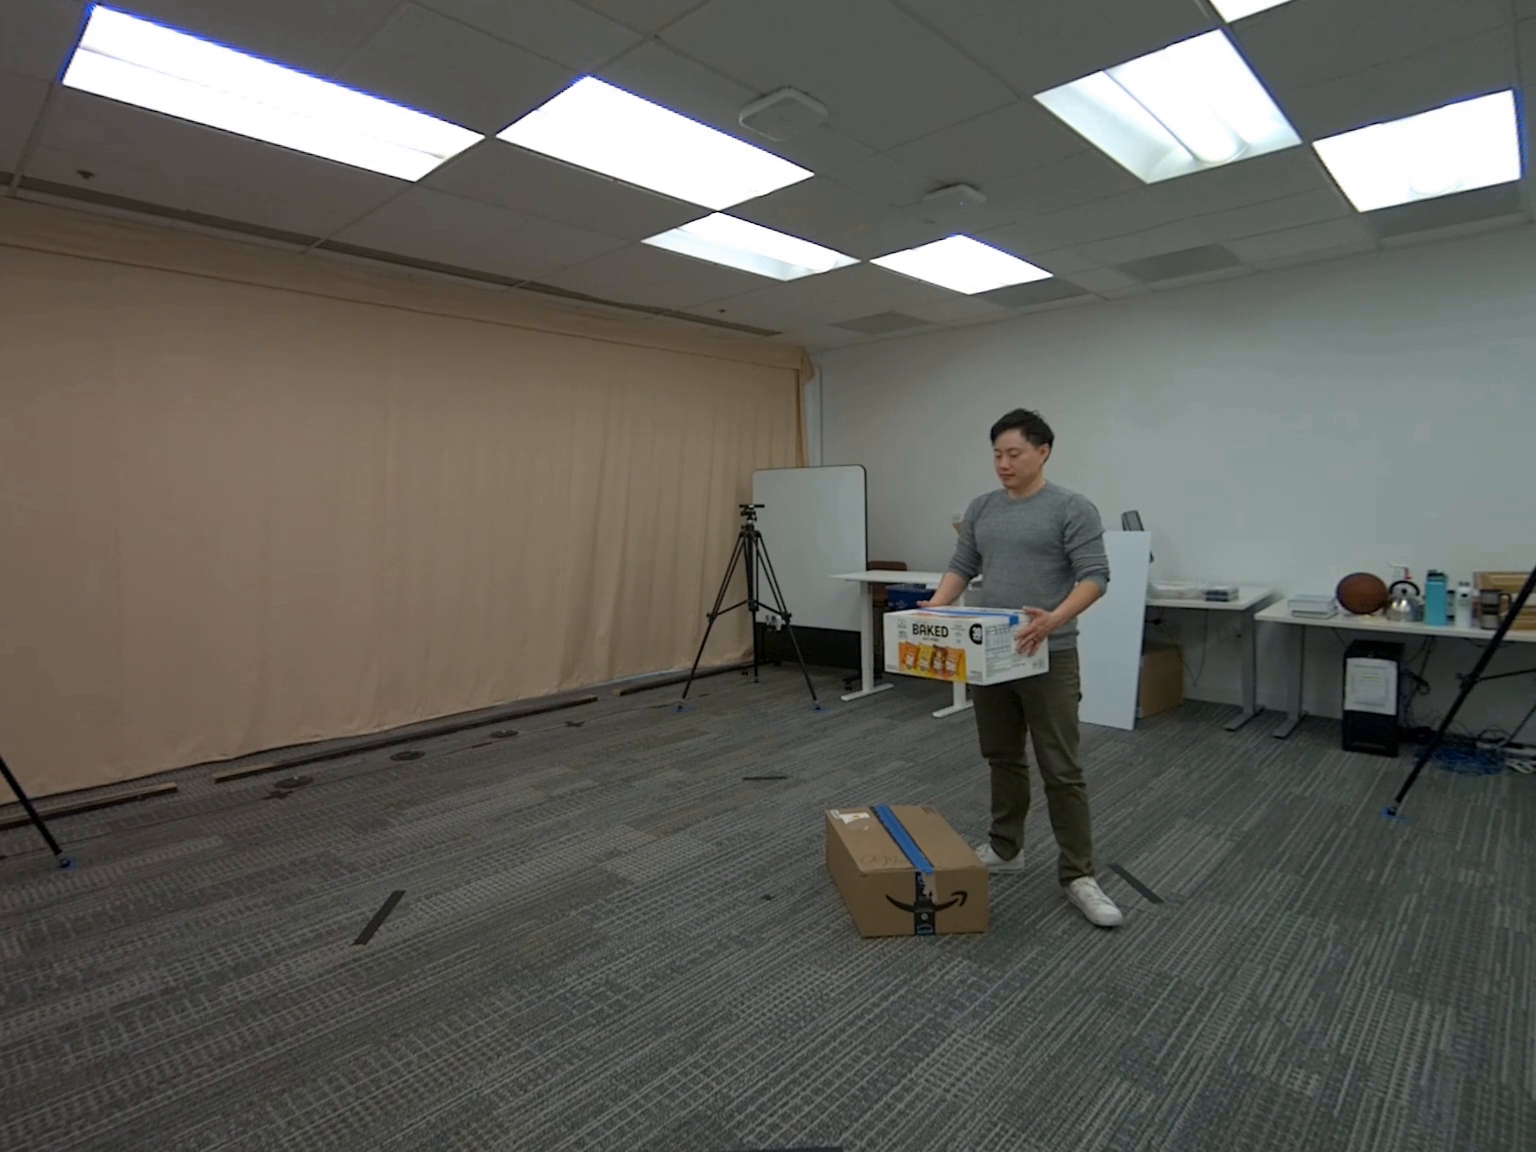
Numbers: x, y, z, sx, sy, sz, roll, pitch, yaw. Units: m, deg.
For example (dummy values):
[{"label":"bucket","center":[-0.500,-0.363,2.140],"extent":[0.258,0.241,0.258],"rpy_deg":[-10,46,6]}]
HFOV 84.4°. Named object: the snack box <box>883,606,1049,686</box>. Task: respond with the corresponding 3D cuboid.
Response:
[{"label":"snack box","center":[0.671,0.229,2.837],"extent":[0.330,0.205,0.418],"rpy_deg":[-4,4,-38]}]
